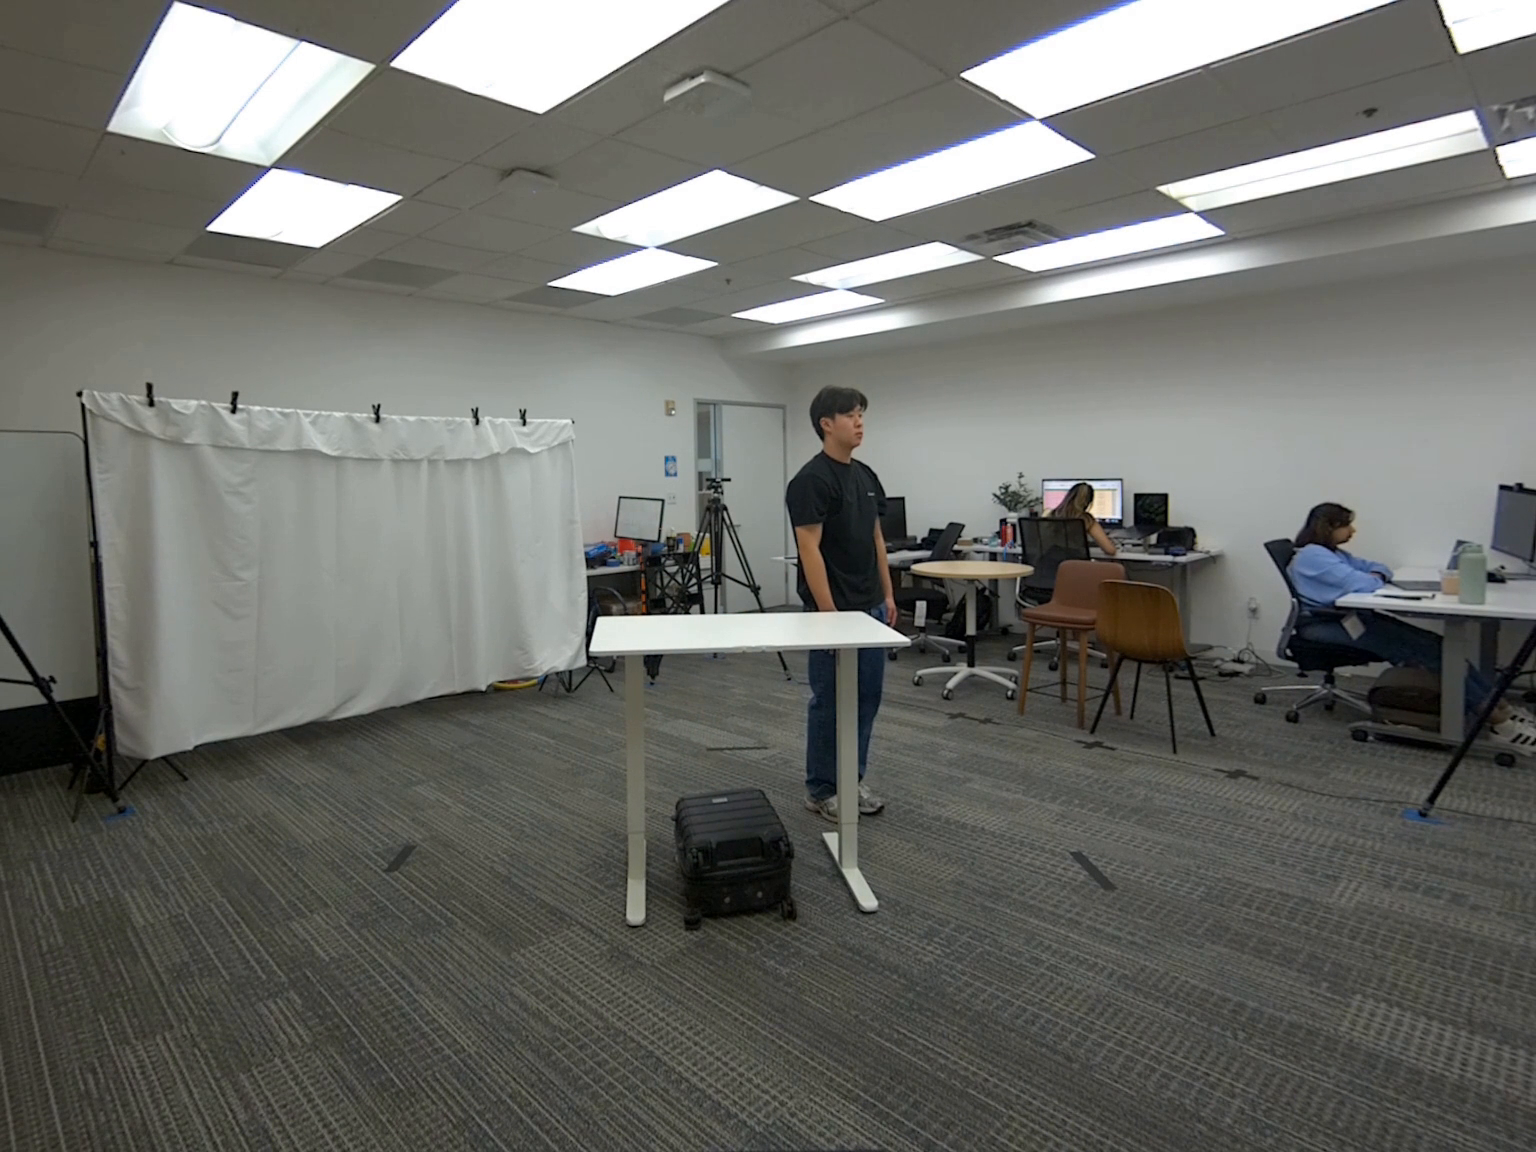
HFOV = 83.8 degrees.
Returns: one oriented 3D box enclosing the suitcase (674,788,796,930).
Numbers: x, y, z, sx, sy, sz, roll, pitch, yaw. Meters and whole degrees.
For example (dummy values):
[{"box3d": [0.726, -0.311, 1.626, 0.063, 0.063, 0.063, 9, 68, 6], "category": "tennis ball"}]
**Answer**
[{"box3d": [-0.164, 0.911, 3.142, 0.381, 0.255, 0.992, -4, 7, -10], "category": "suitcase"}]
